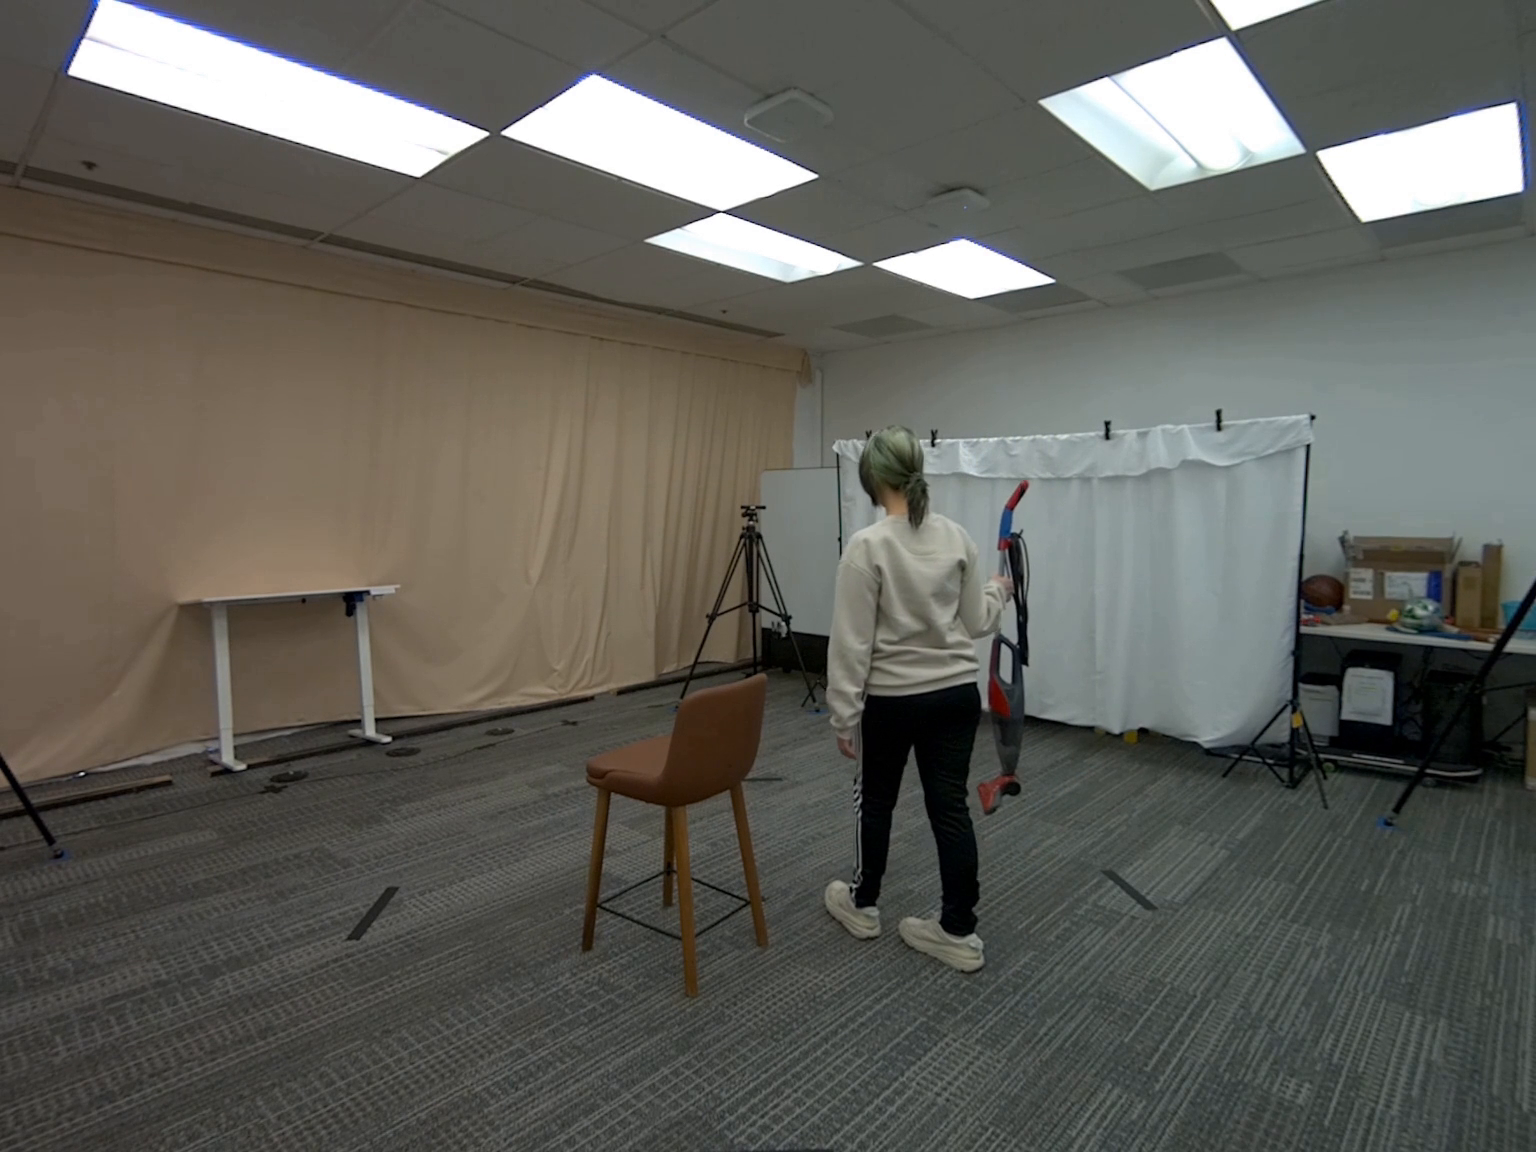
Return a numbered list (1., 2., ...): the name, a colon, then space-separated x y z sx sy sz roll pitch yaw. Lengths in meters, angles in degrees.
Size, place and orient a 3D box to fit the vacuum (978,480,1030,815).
1. vacuum: 0.827 0.214 2.830 0.145 1.047 0.251 5 4 5
